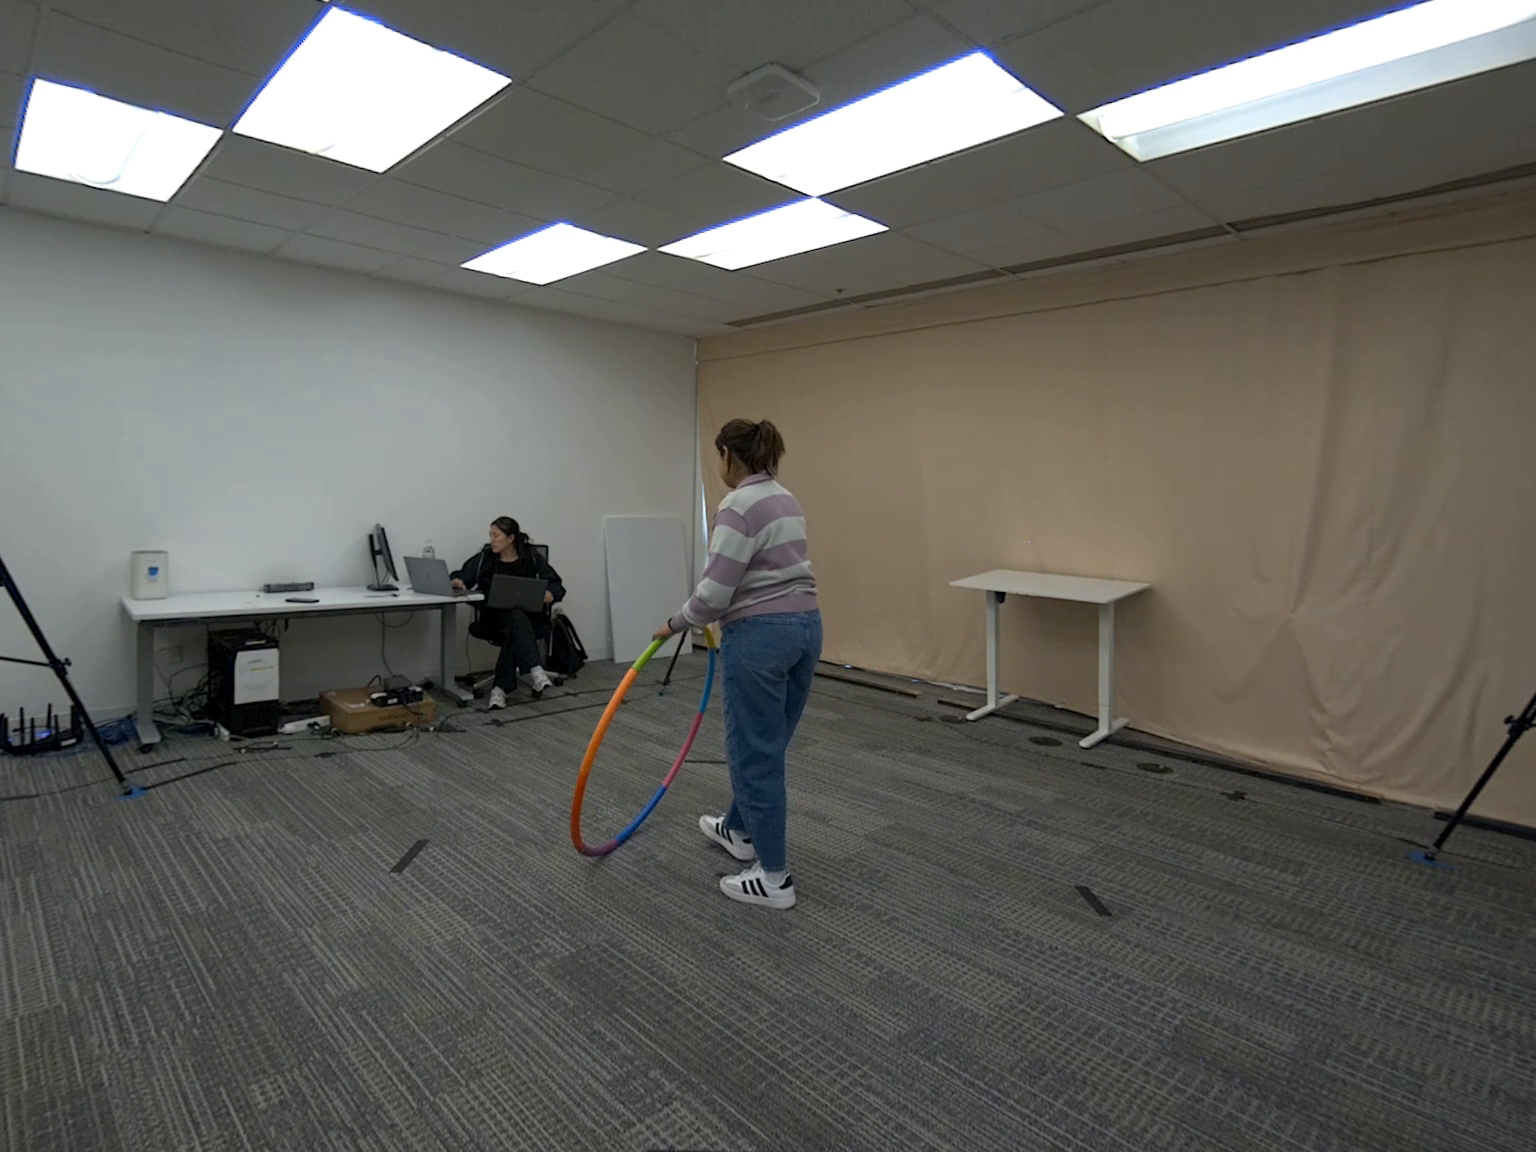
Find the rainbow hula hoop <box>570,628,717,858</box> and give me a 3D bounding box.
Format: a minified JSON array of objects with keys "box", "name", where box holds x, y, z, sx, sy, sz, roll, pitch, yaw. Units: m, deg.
[{"box":[-0.453,0.622,3.264,0.036,0.974,0.966,23,11,16],"name":"rainbow hula hoop"}]
